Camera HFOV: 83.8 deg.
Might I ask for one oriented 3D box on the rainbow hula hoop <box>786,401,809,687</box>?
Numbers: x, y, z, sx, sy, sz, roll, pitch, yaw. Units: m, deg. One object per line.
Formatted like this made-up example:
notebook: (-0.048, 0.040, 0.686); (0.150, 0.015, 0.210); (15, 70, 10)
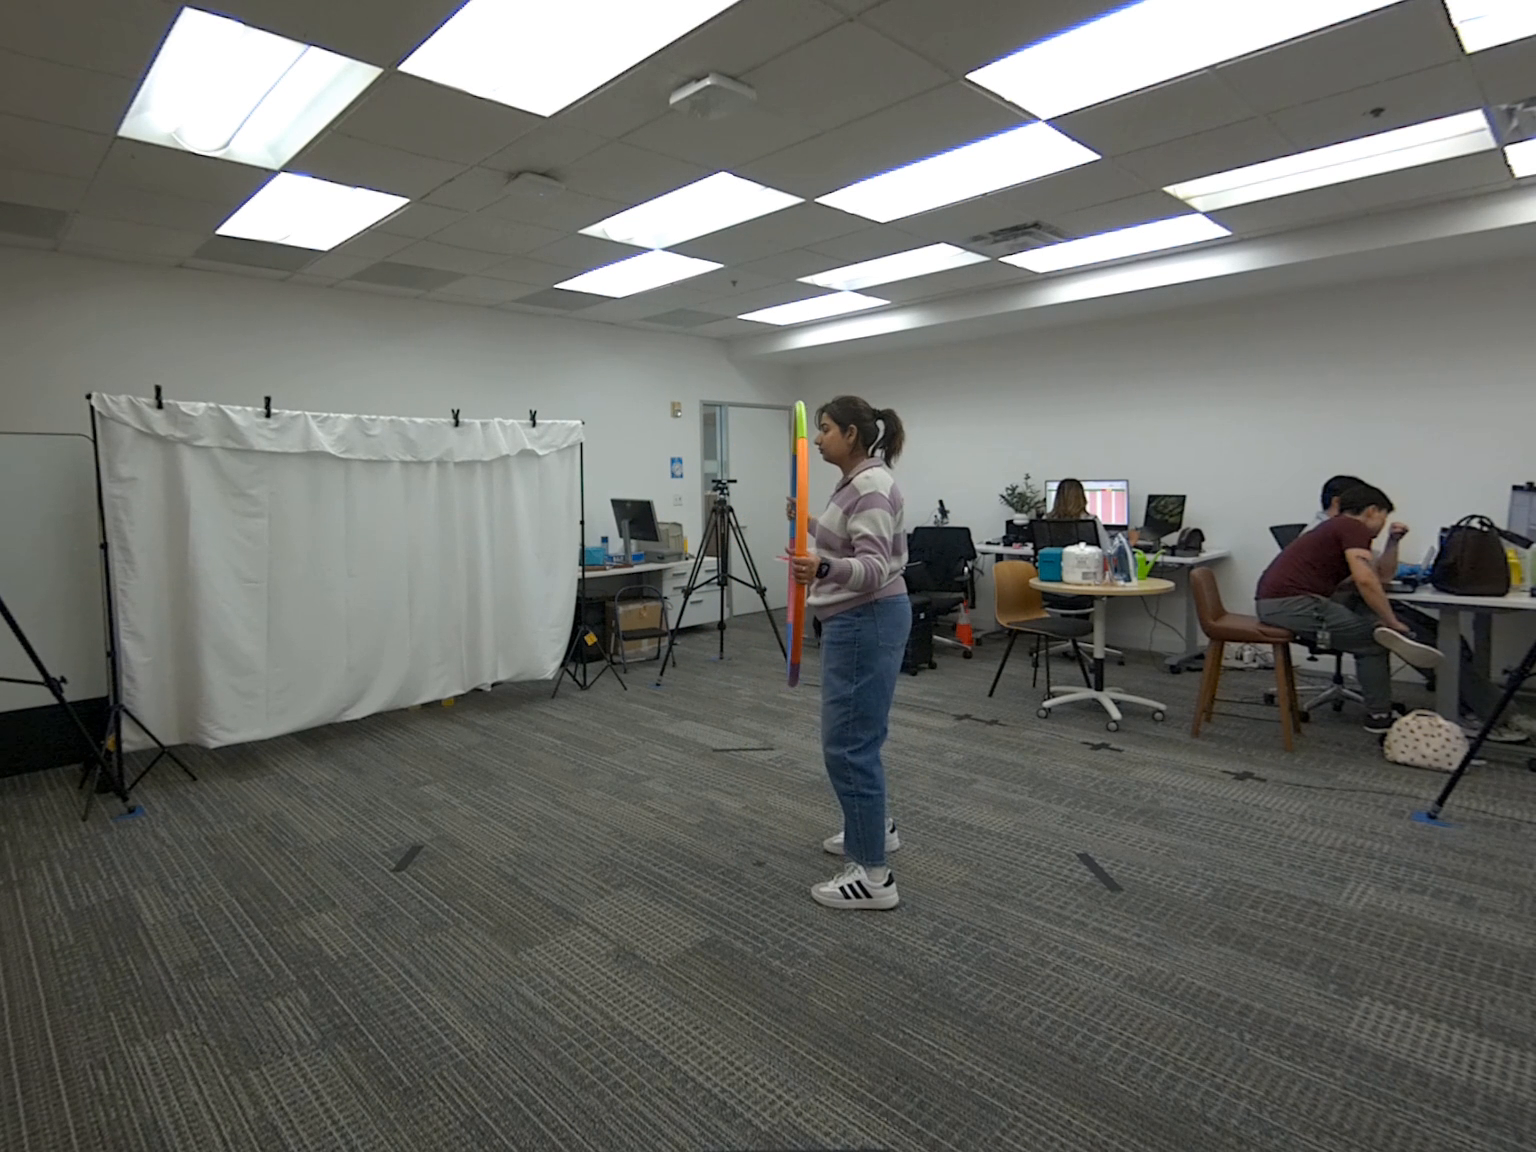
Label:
rainbow hula hoop: (0.100, -0.112, 2.996); (0.035, 0.975, 0.980); (3, 5, 1)
